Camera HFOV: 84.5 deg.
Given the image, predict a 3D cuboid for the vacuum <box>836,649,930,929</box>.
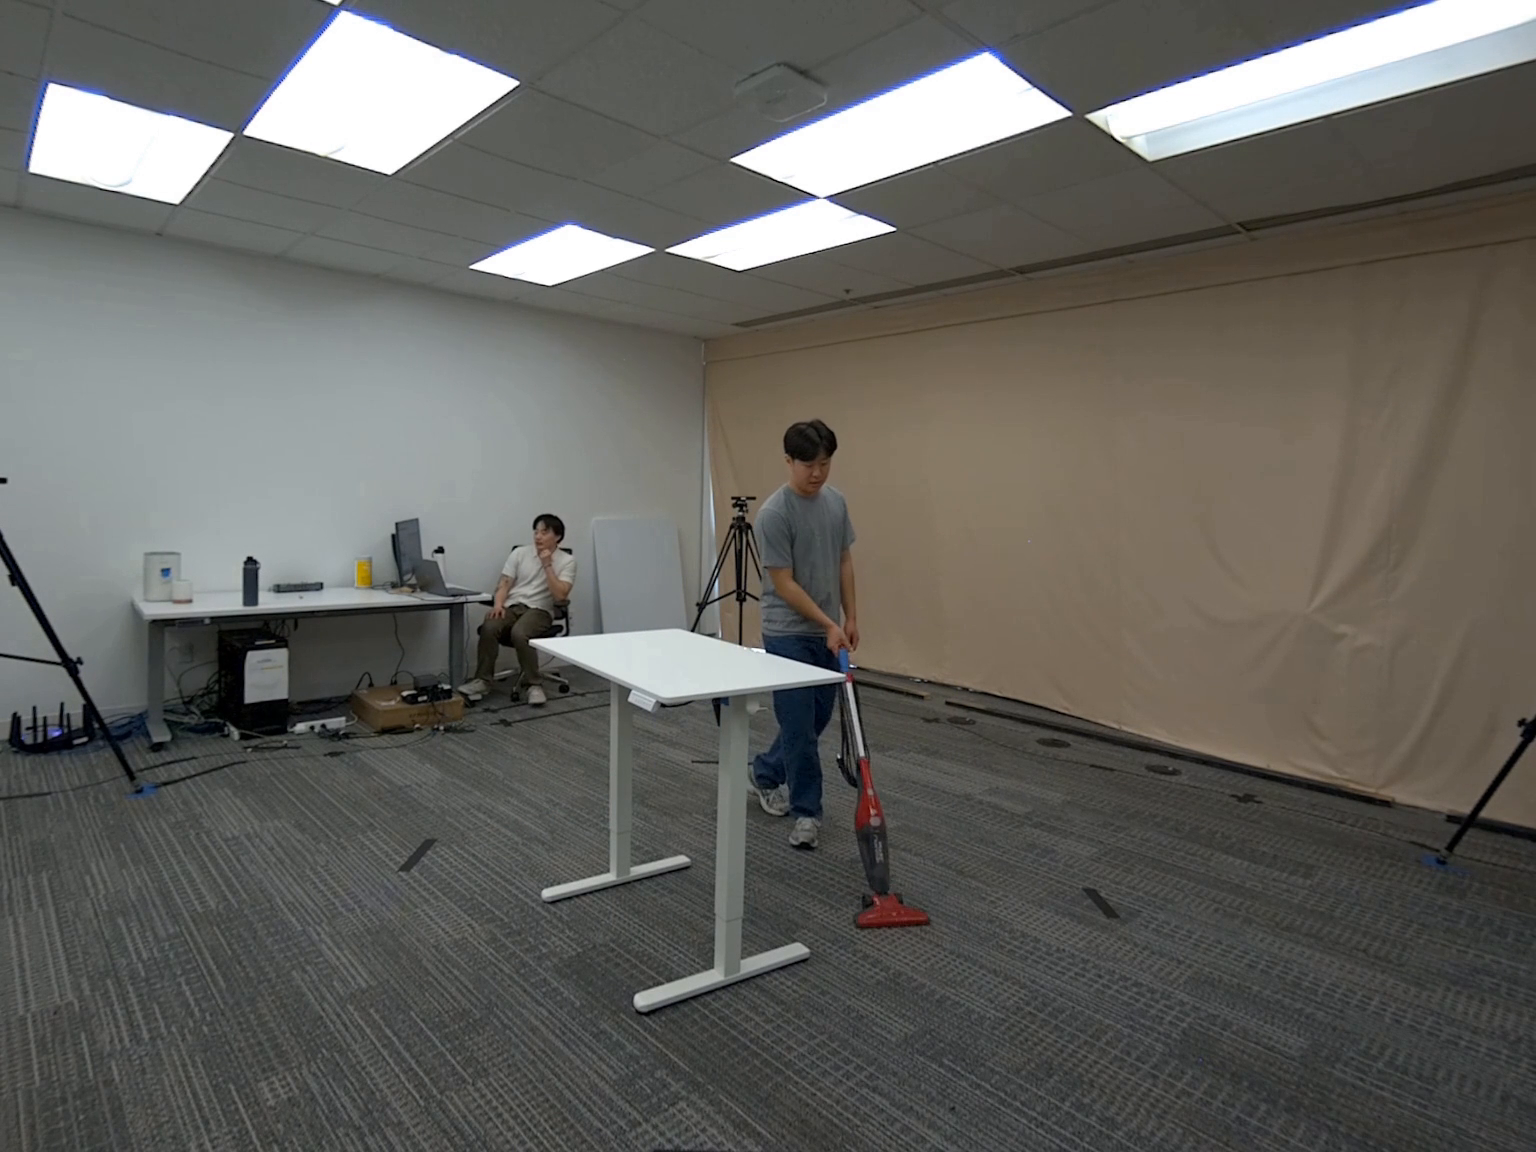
[{"bbox_3d":[0.332,0.701,3.103,0.249,1.073,0.142,2,-34,-15],"label":"vacuum"}]
